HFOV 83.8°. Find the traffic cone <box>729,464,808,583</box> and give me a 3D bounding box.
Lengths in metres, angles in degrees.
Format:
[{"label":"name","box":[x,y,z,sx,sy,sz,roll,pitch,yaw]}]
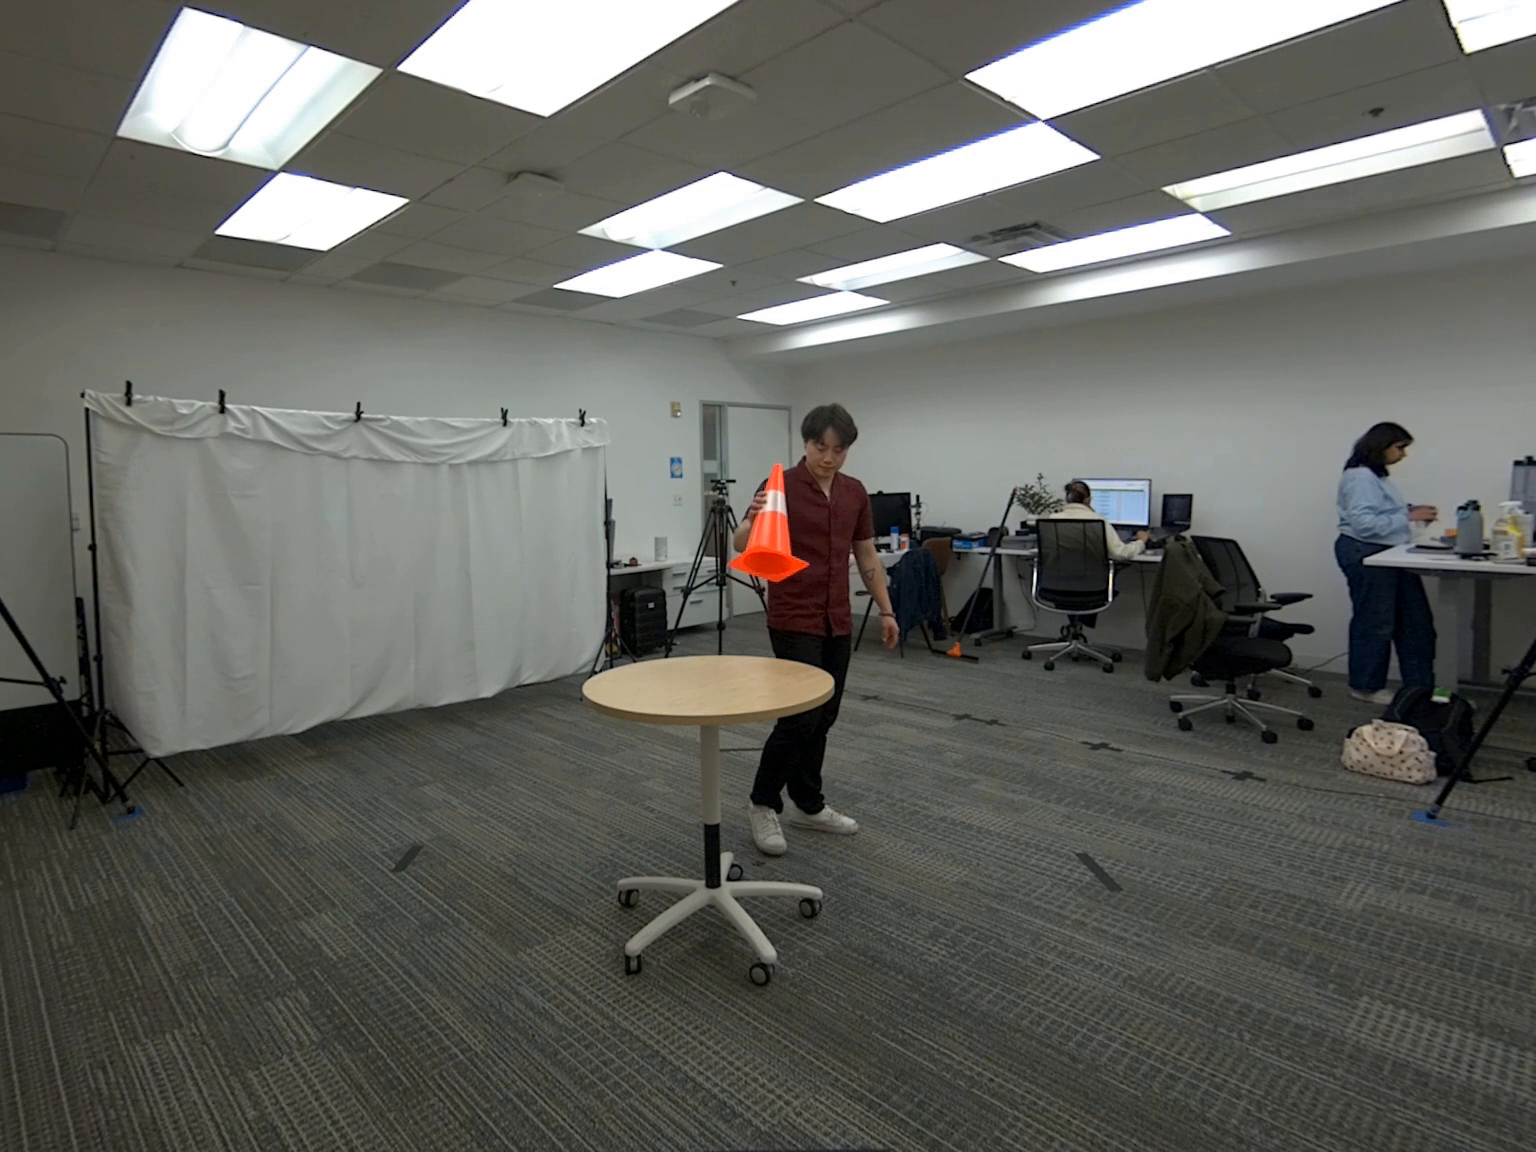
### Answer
[{"label":"traffic cone","box":[0.014,-0.198,2.820,0.196,0.391,0.208,28,-37,-33]}]
